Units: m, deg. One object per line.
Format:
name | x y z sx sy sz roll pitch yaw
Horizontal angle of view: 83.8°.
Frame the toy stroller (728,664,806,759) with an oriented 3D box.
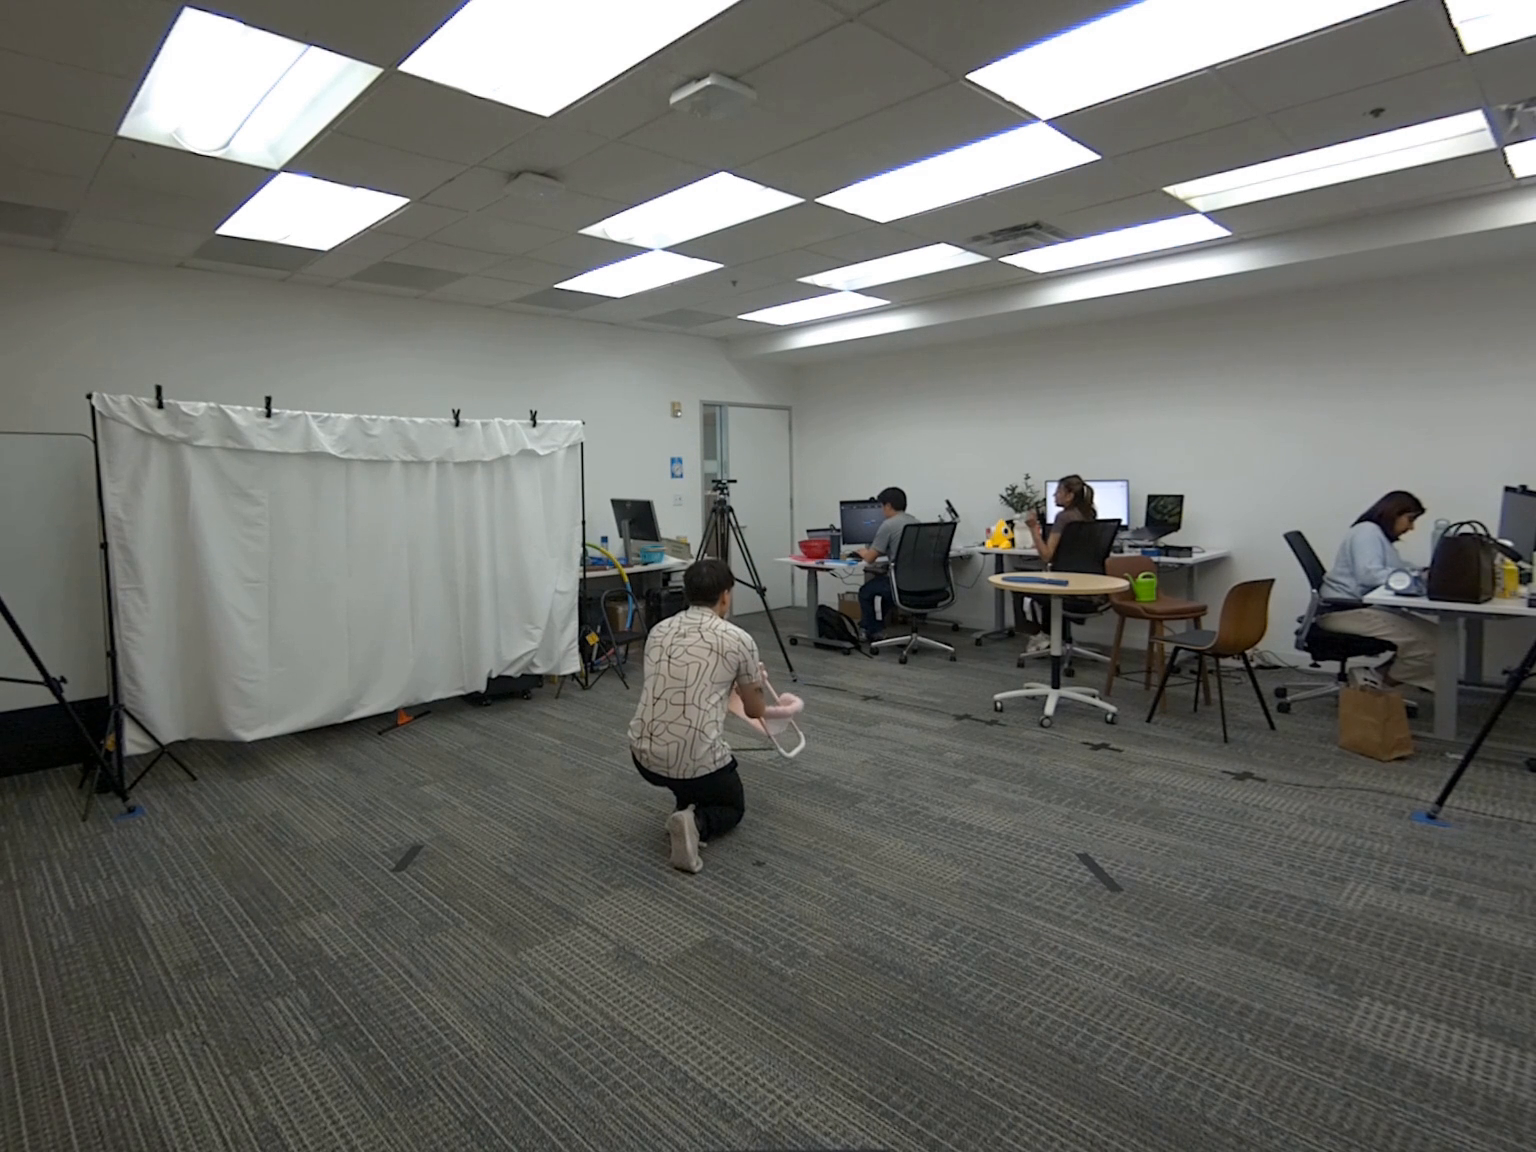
toy stroller | -0.070 0.548 3.791 0.551 0.338 0.276 16 15 28
